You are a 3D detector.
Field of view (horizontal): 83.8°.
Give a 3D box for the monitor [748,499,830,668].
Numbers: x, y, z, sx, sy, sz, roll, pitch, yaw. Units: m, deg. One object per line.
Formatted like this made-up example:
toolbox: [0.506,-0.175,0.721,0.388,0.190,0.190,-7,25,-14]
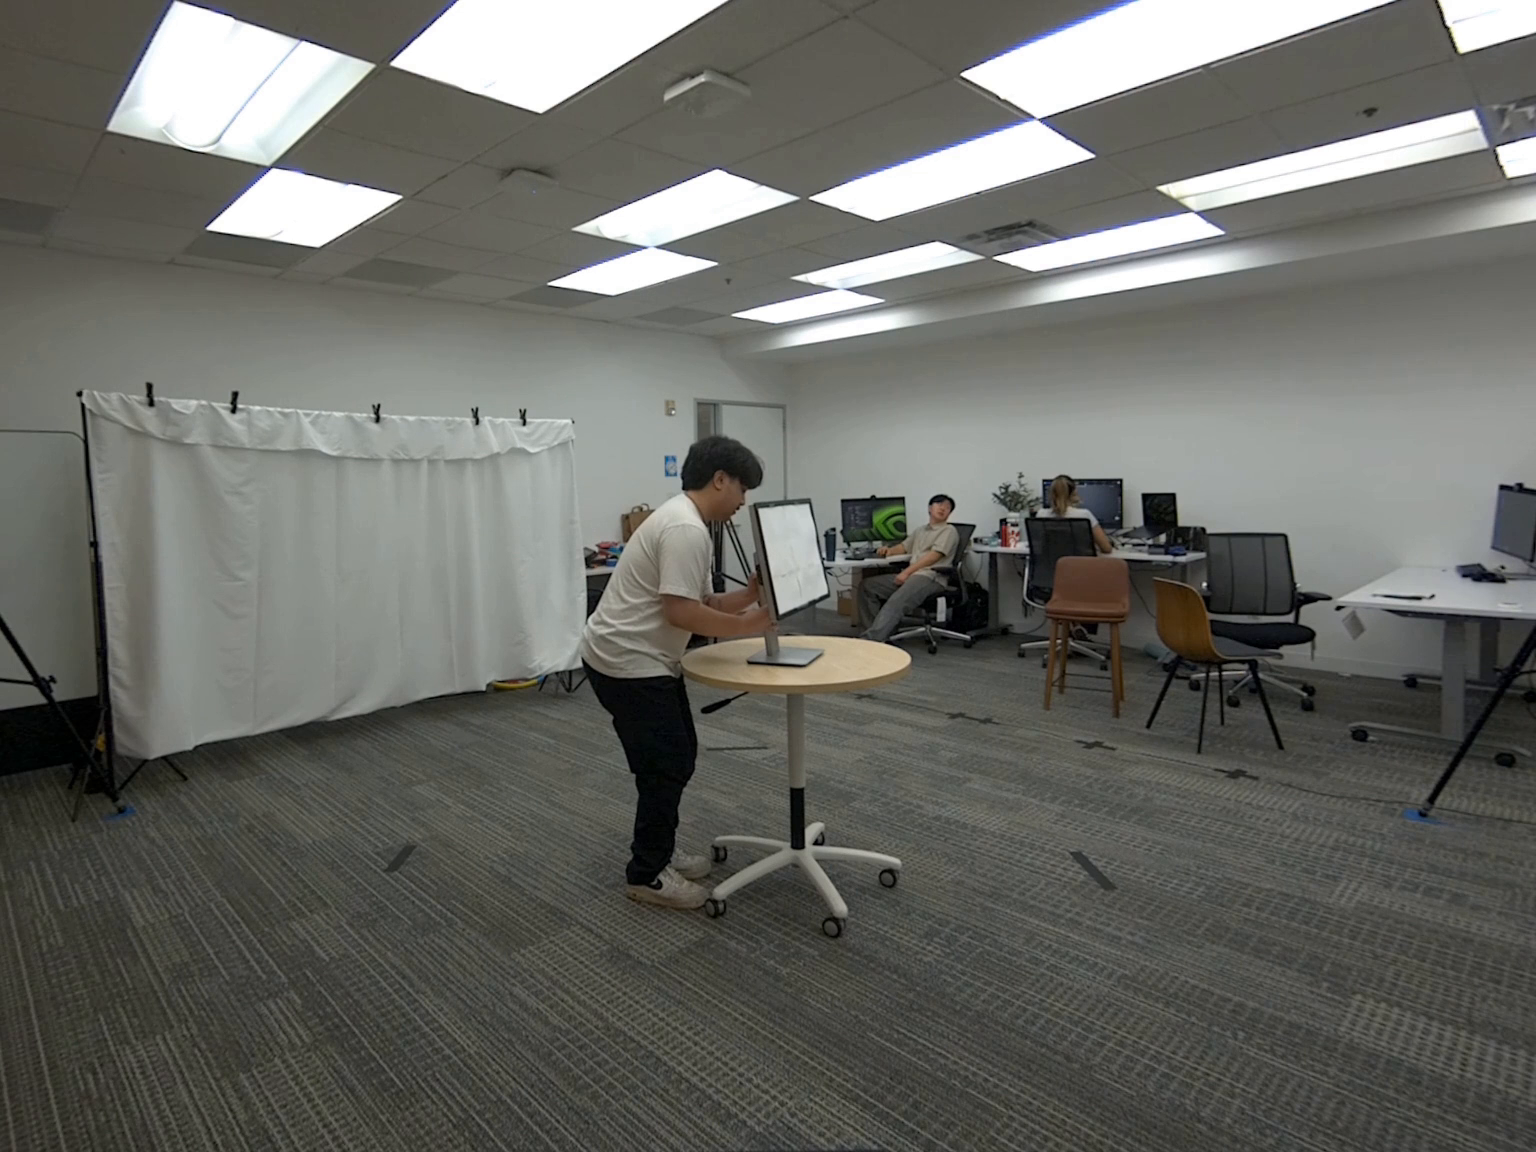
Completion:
monitor: [0.027,0.020,2.852,0.214,0.553,0.556,-6,3,22]
